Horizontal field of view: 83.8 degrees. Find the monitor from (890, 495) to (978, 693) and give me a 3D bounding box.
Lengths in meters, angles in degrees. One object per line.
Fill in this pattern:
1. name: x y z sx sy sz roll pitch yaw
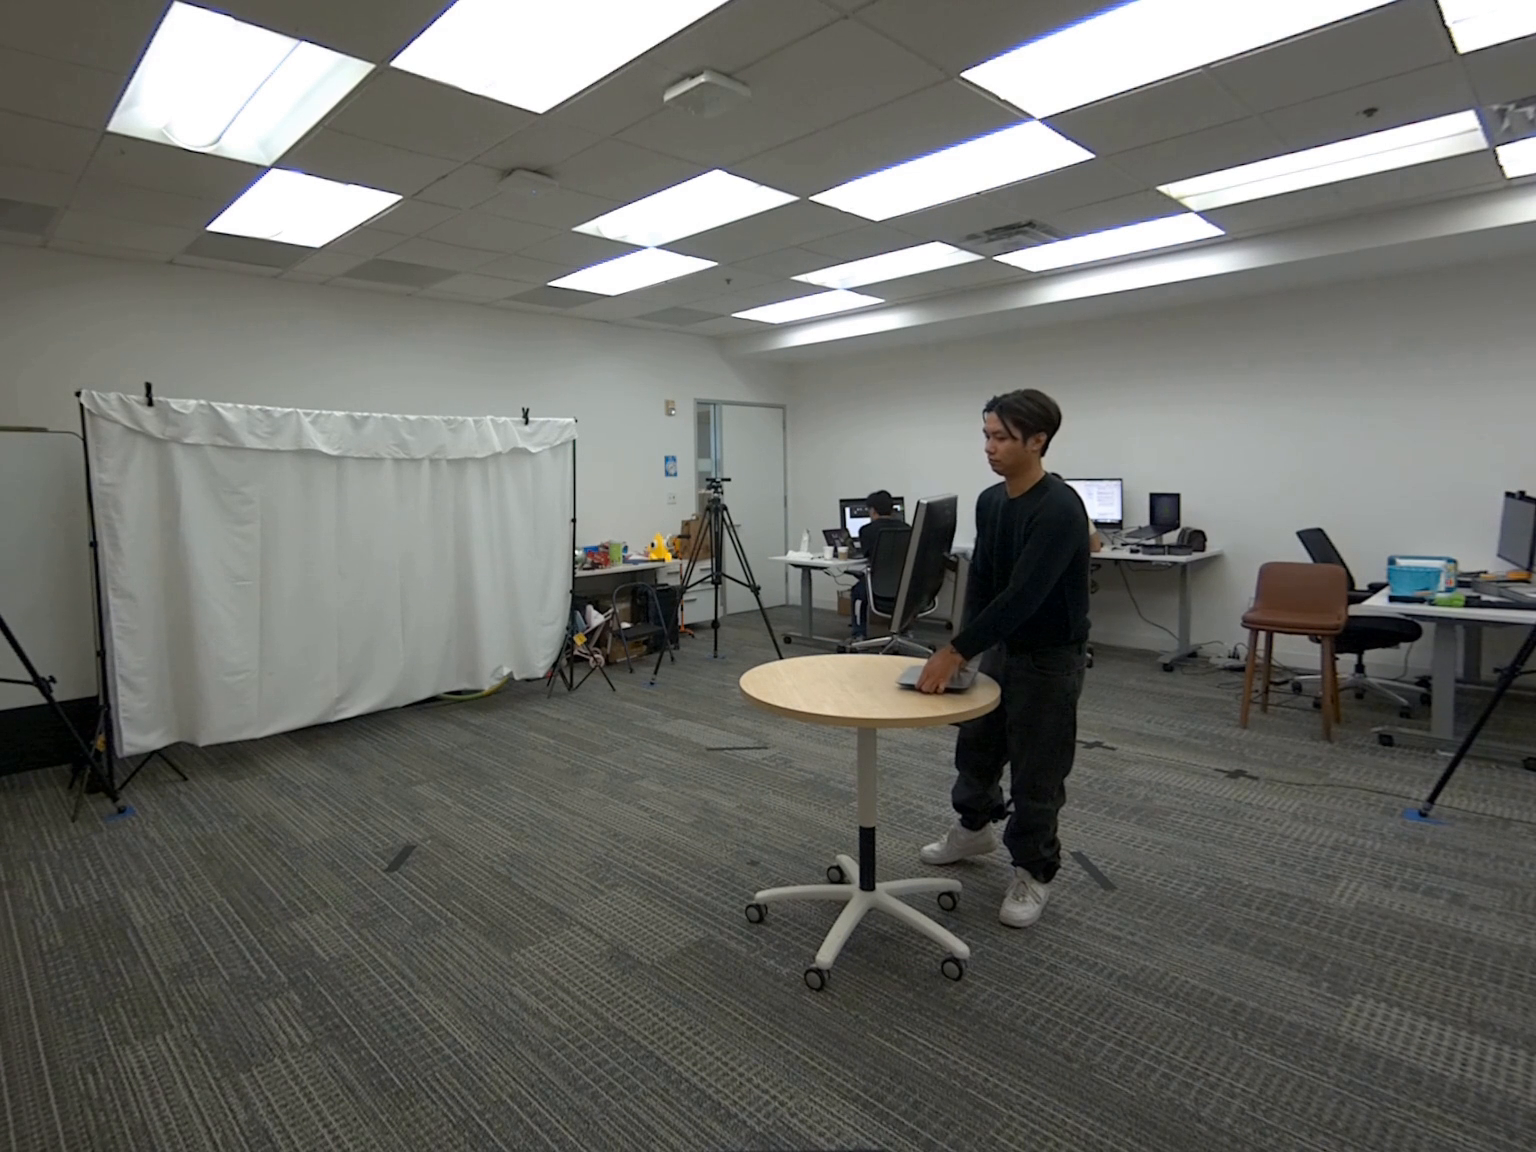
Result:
1. monitor: 0.511 0.034 2.509 0.190 0.520 0.531 0 5 19
